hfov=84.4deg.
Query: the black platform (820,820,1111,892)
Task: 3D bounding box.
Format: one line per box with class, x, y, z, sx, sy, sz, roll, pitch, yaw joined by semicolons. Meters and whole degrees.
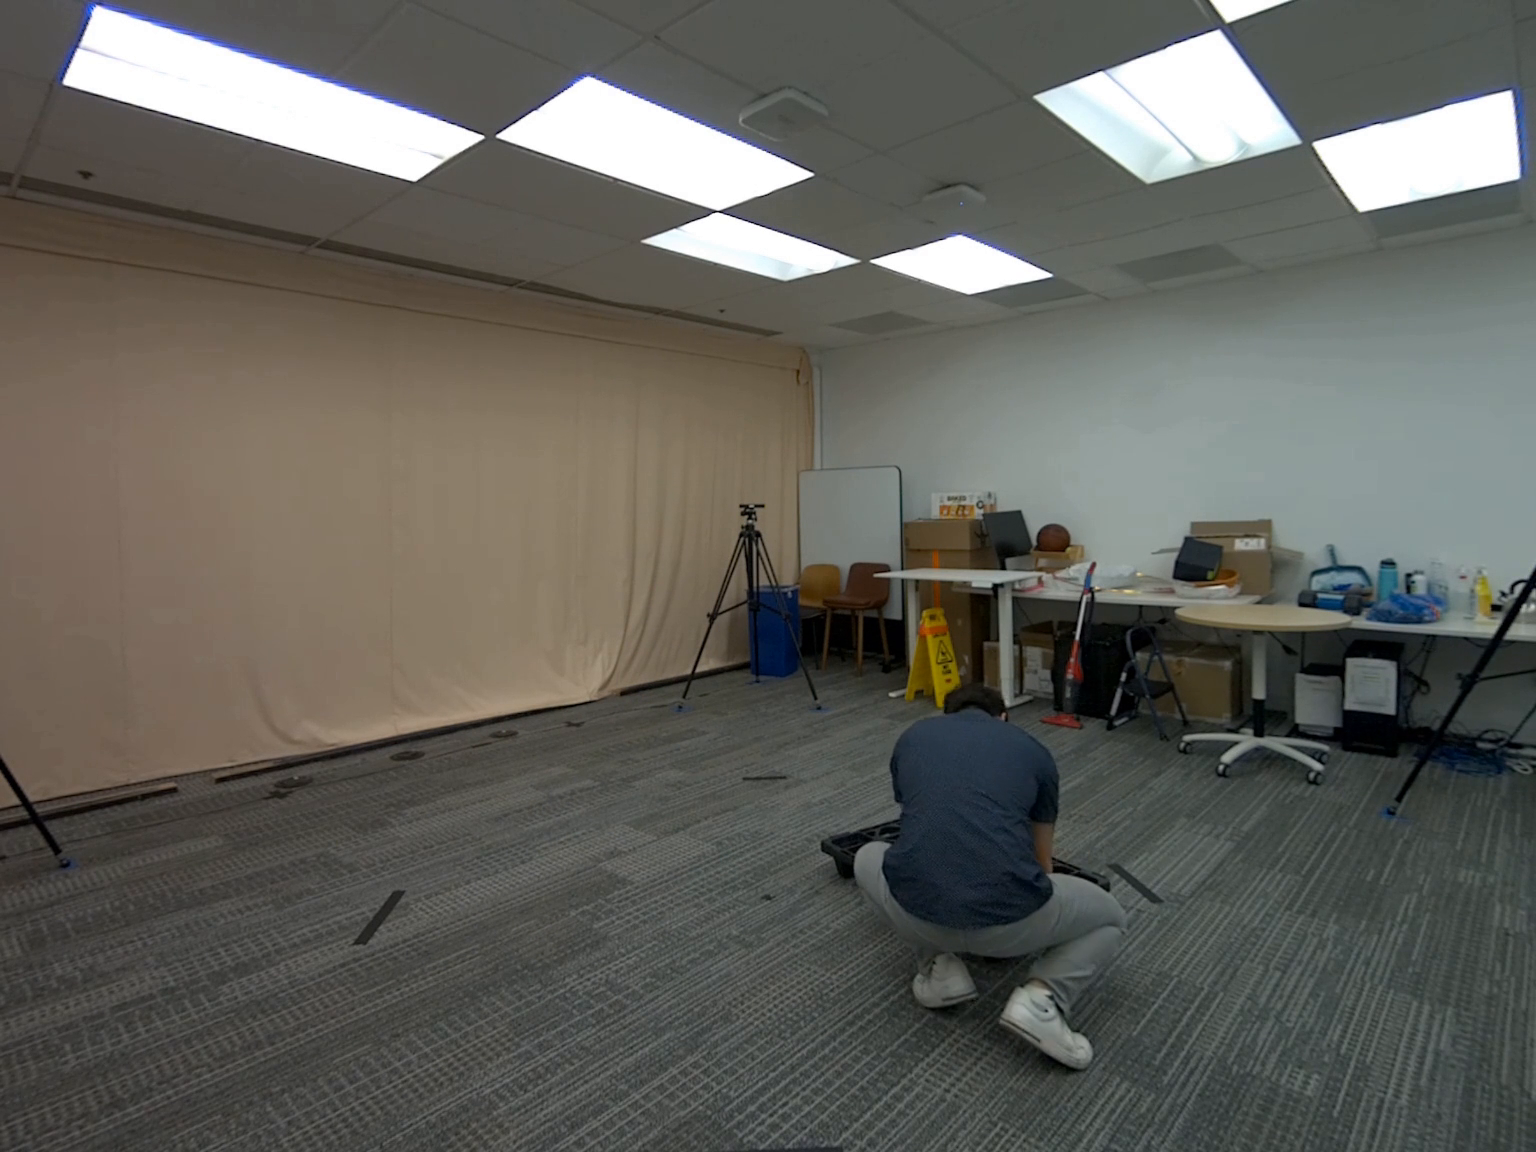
black platform;0.669;1.062;2.963;0.588;0.143;0.831;-3;6;-34
